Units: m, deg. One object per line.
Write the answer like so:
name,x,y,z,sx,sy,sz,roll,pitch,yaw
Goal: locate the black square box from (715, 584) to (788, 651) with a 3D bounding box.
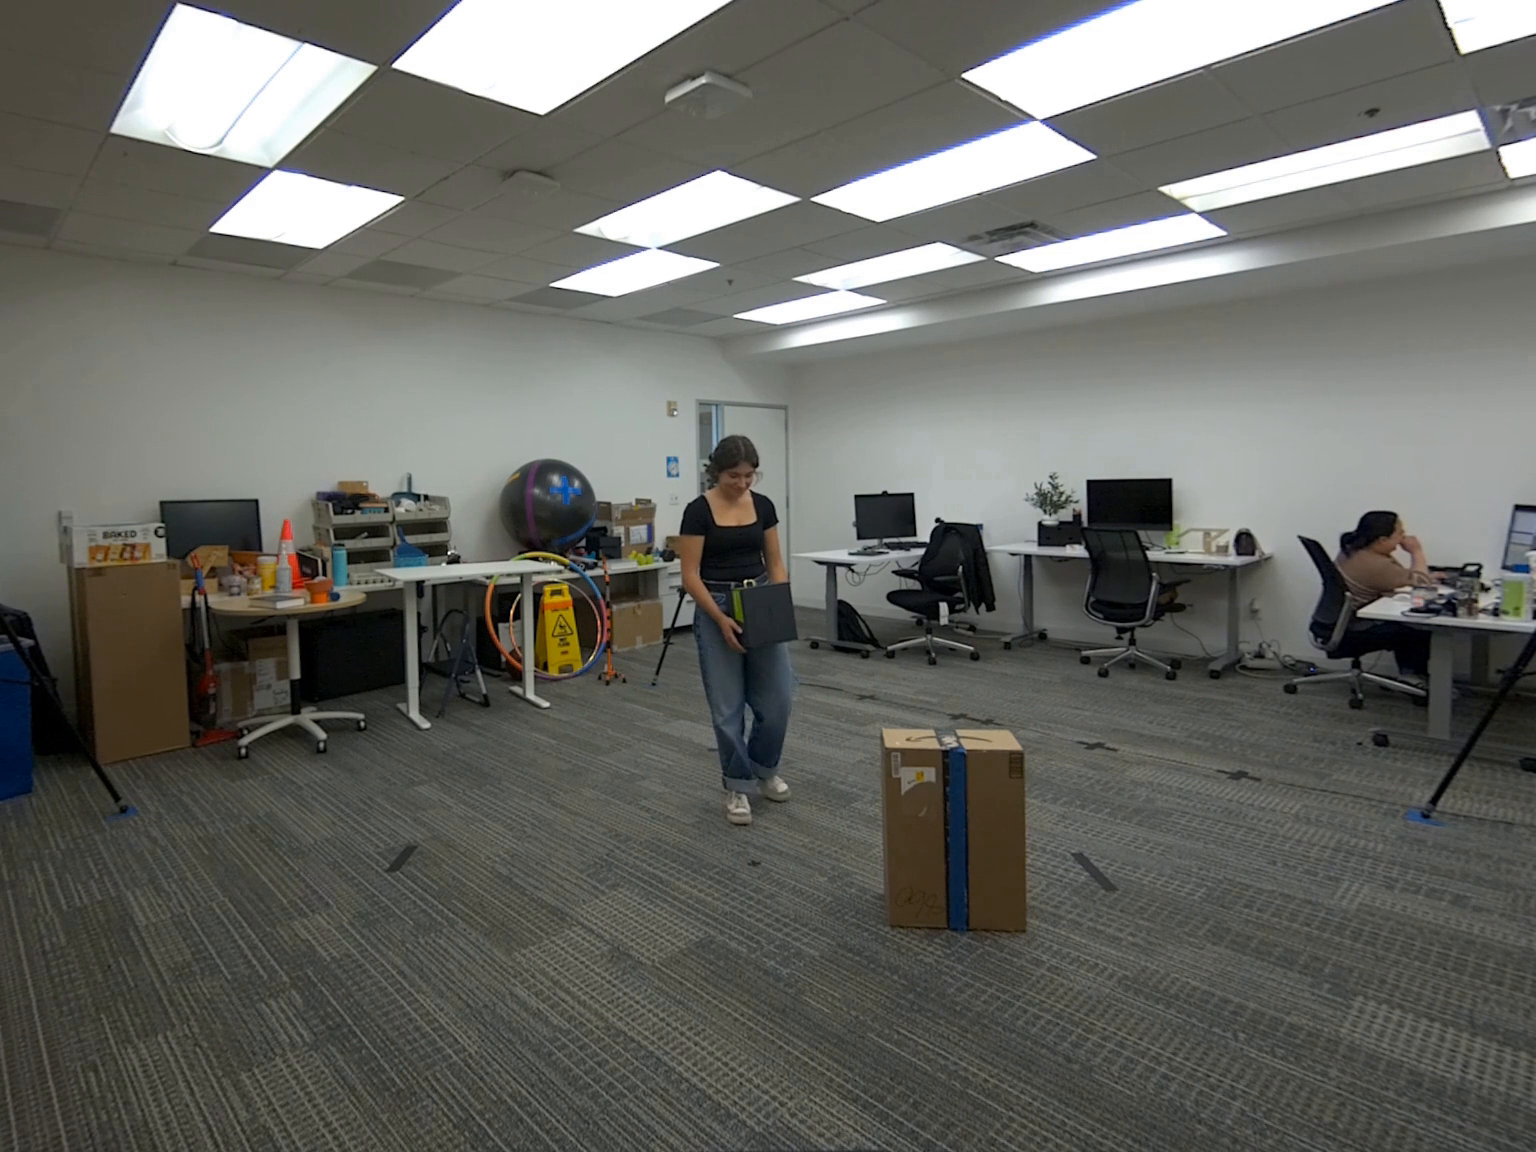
black square box,-0.070,0.161,3.359,0.160,0.228,0.211,-8,-1,44
